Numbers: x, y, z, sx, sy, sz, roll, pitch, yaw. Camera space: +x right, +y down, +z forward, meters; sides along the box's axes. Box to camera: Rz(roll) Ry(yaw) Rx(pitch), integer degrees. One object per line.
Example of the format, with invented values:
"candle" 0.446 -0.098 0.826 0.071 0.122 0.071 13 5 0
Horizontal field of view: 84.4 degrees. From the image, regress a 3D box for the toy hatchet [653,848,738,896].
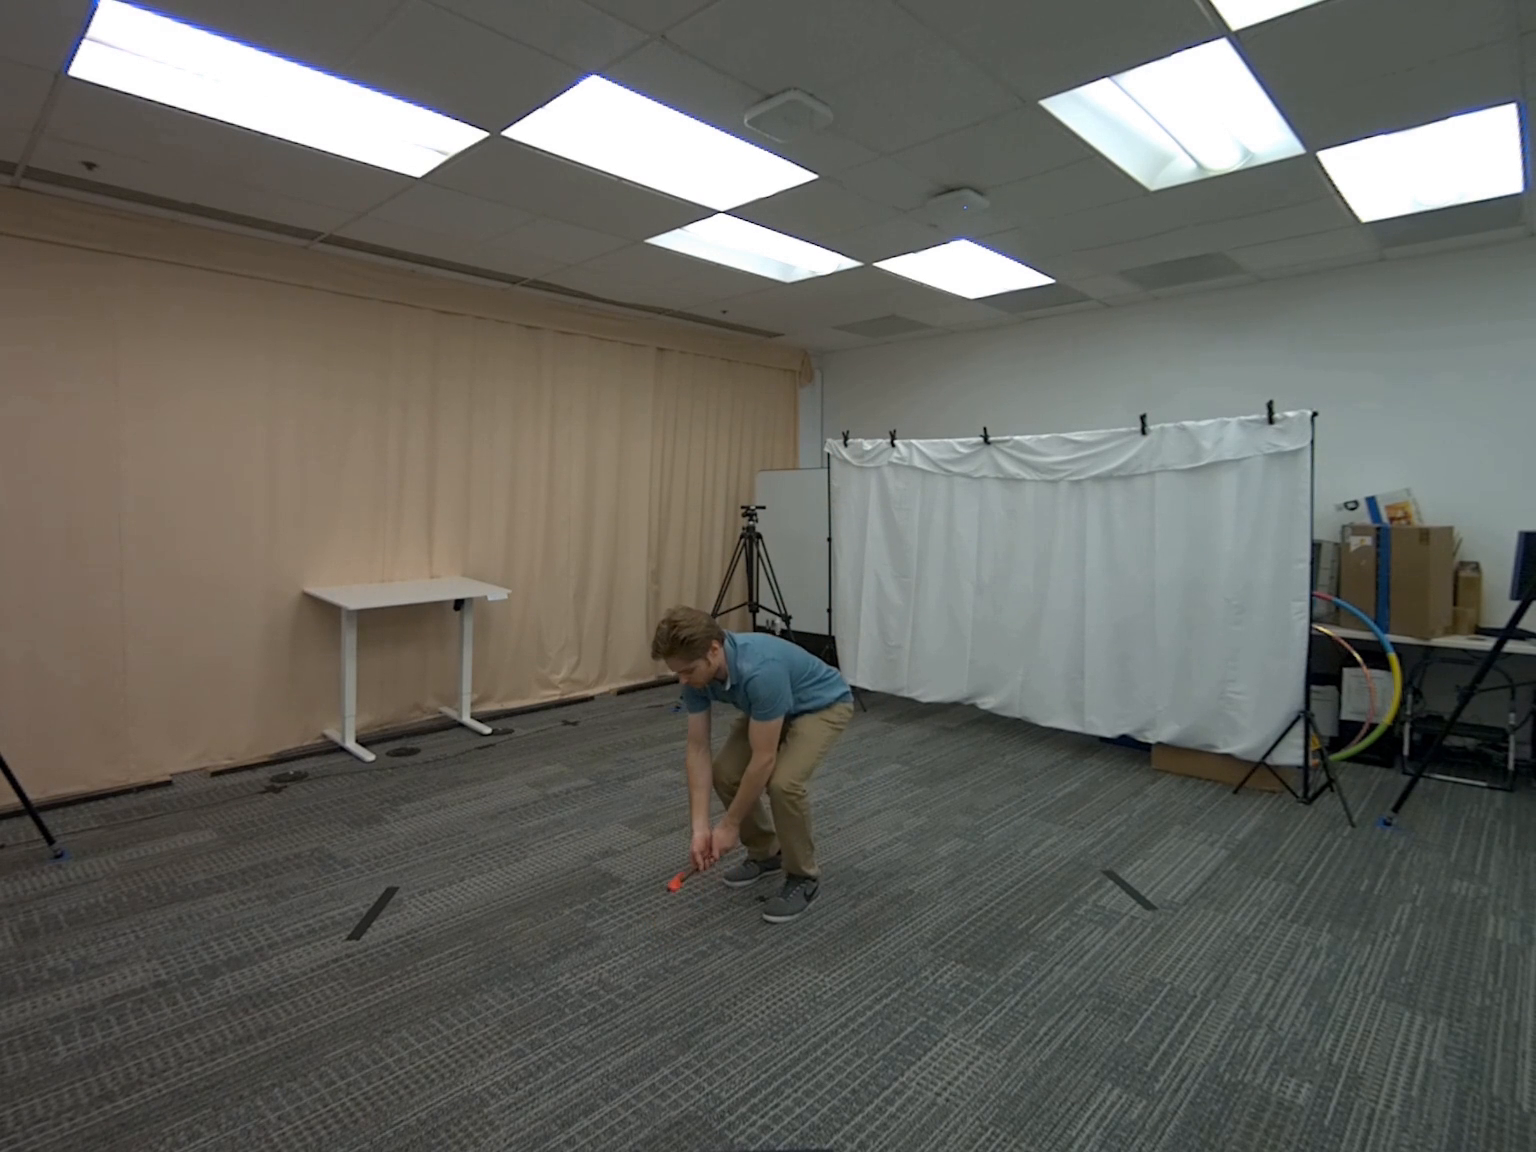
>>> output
"toy hatchet" -0.245 0.994 2.856 0.264 0.030 0.133 -22 -5 -35
